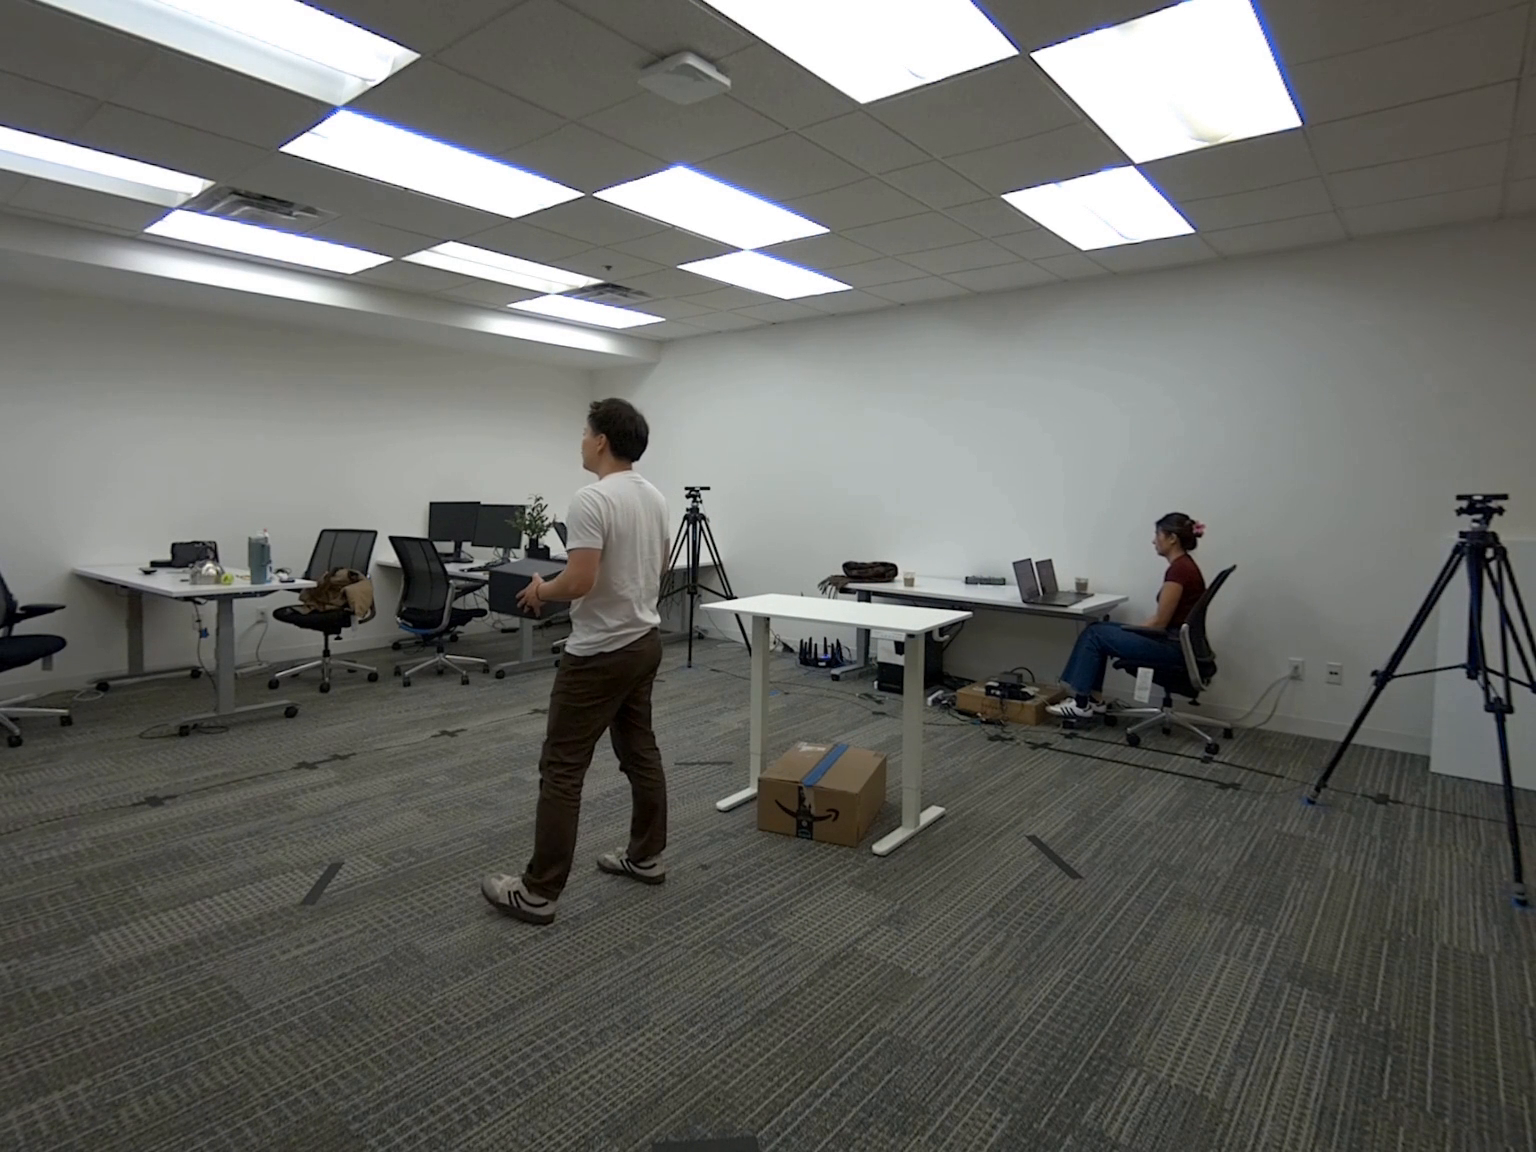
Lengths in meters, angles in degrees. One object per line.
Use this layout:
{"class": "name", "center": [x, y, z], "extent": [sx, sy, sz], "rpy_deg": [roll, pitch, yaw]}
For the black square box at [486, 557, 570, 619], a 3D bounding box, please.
{"class": "black square box", "center": [-0.862, 0.037, 3.061], "extent": [0.222, 0.154, 0.224], "rpy_deg": [9, 11, 19]}
